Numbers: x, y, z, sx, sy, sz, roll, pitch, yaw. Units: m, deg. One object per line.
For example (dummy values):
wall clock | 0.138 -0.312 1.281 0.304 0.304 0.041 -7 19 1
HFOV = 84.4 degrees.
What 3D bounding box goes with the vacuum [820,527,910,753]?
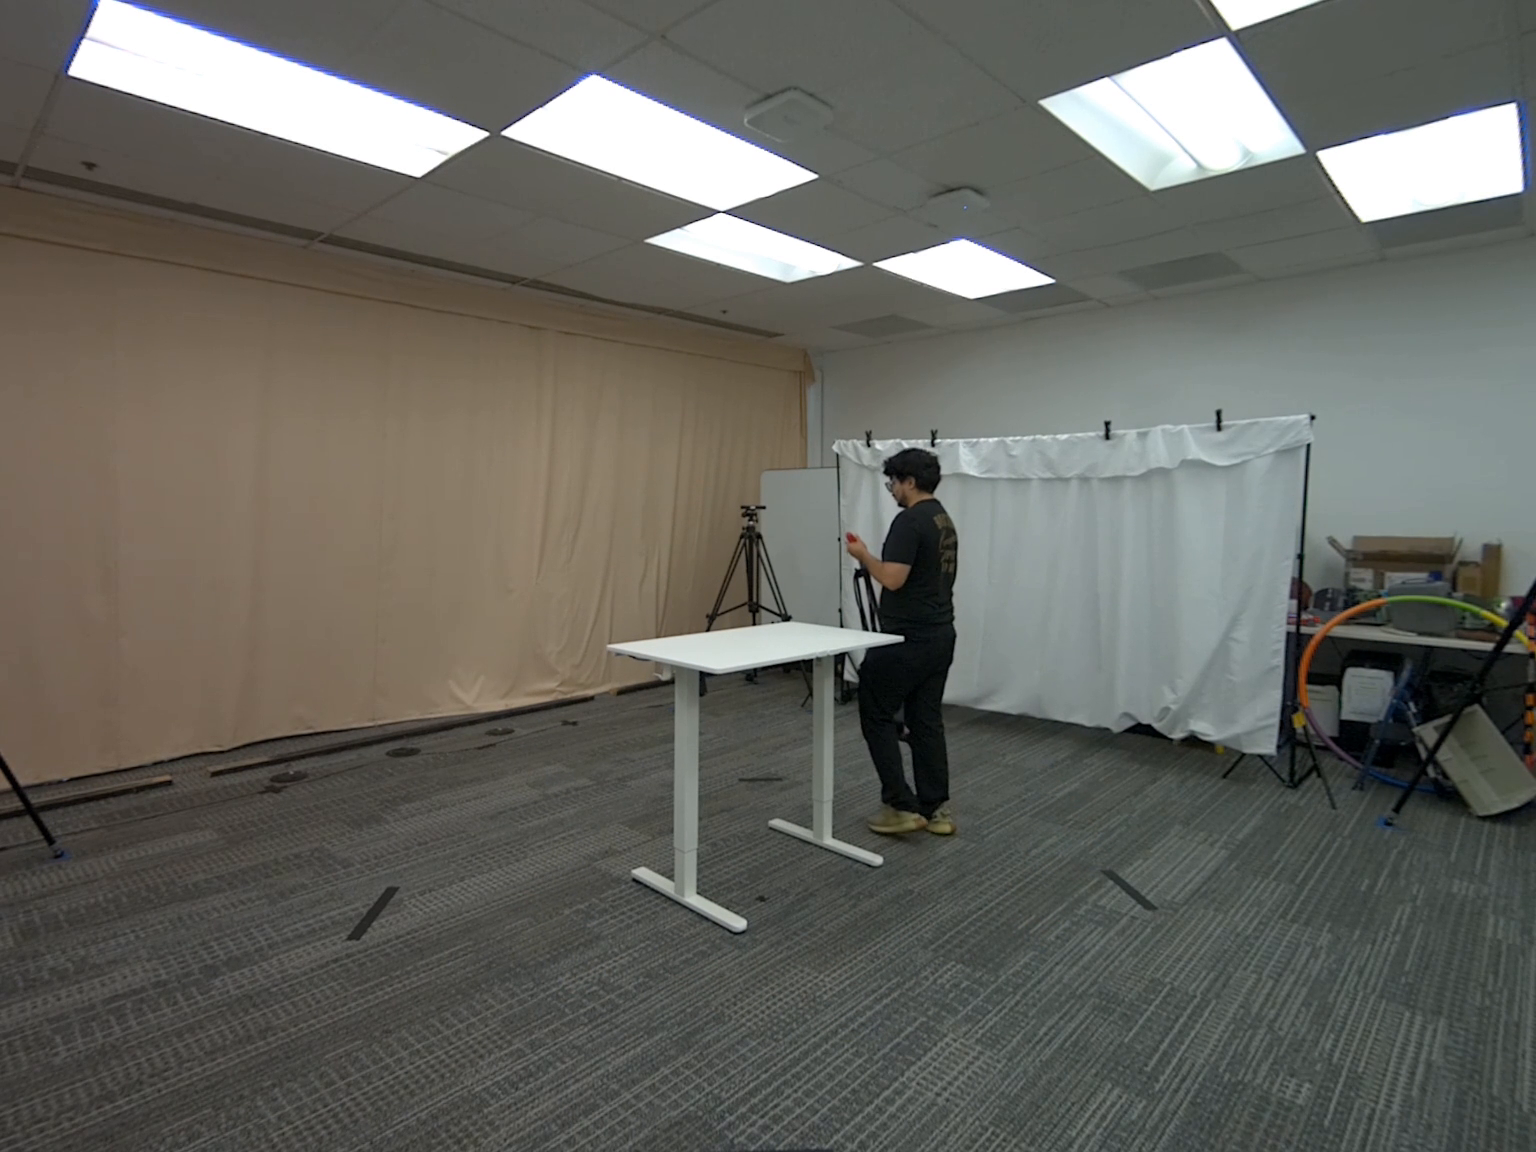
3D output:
vacuum | 0.503 0.293 3.824 0.141 1.034 0.261 -29 20 -36
